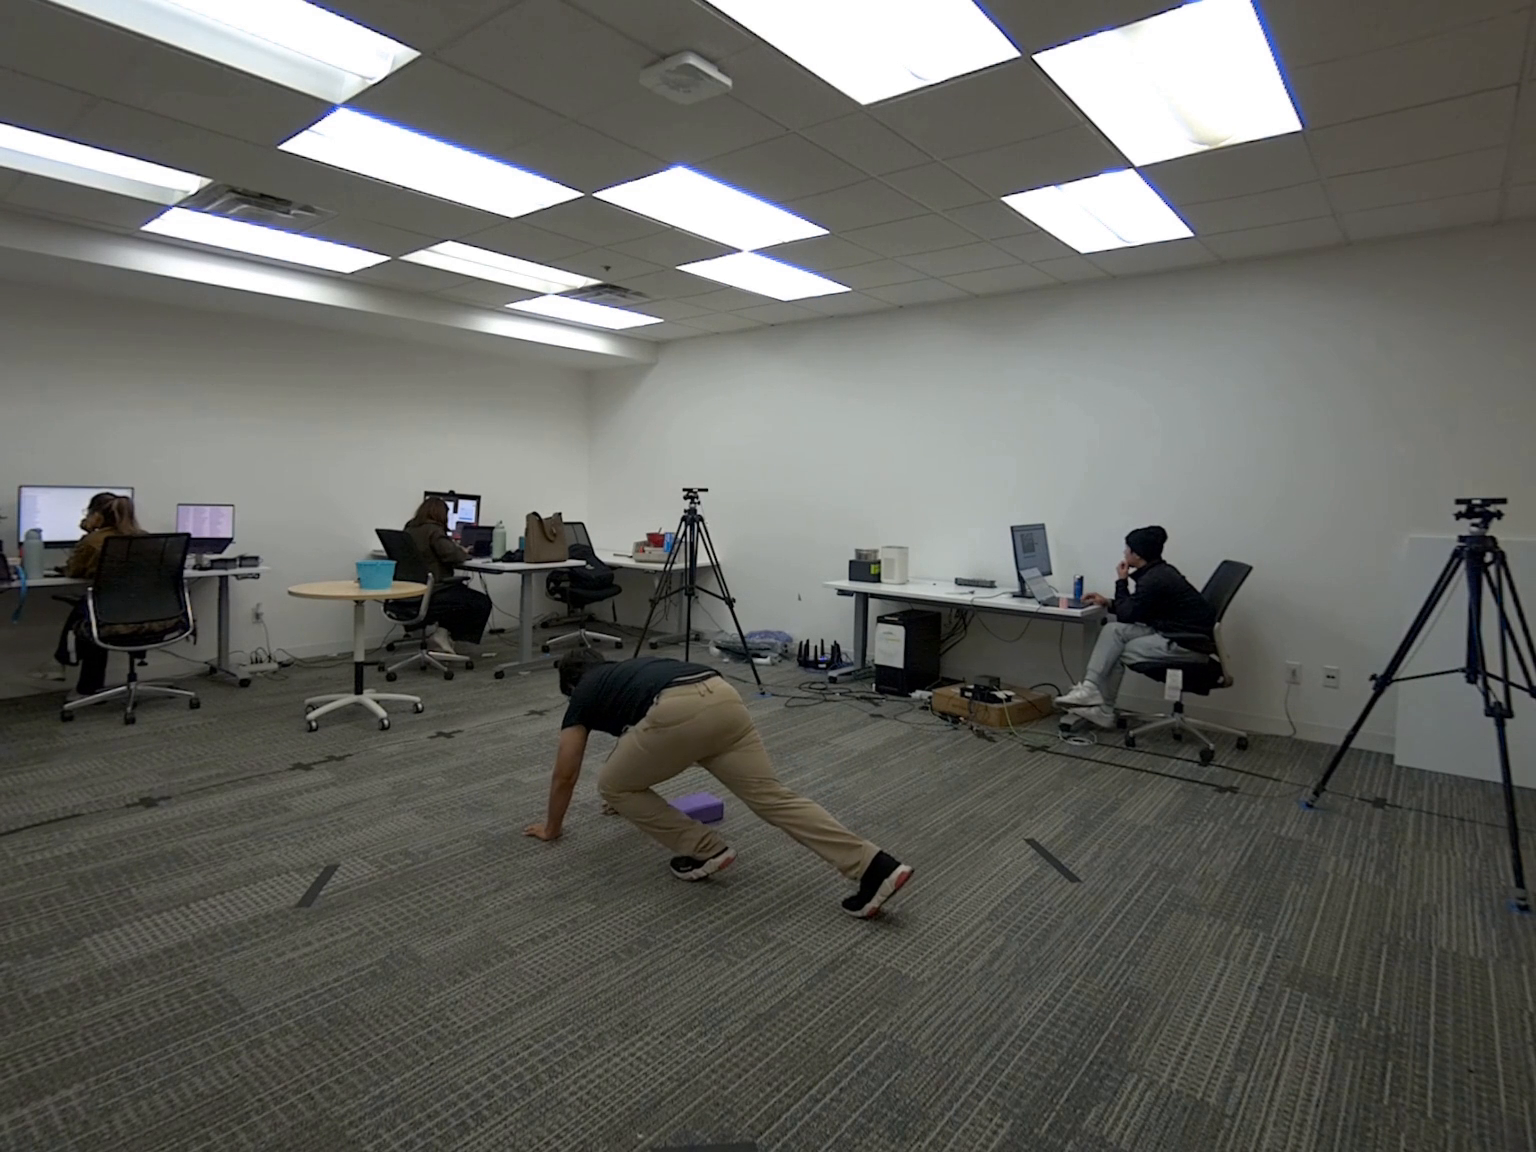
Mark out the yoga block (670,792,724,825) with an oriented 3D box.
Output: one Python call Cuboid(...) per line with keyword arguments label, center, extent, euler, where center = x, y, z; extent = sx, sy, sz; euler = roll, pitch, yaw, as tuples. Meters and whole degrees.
Cuboid(label="yoga block", center=(-0.326, 0.980, 3.584), extent=(0.222, 0.076, 0.154), euler=(-3, 6, -37))
